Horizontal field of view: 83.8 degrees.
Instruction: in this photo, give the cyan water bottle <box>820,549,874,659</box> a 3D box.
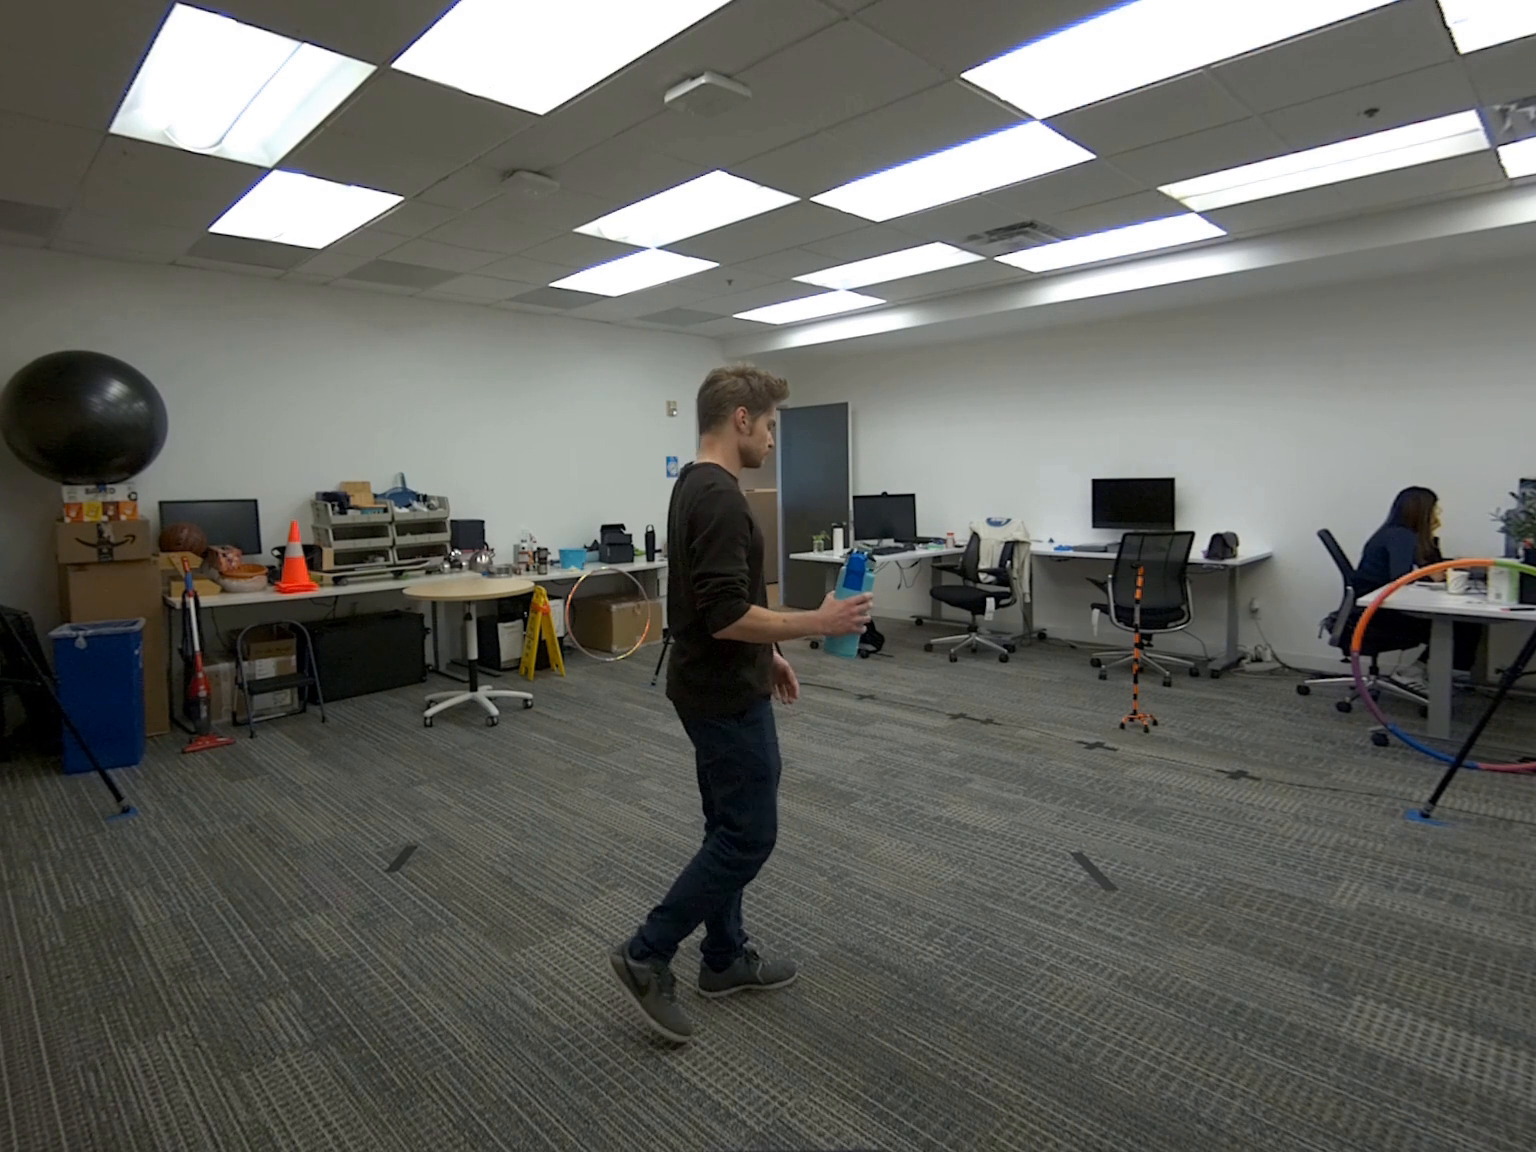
[{"bbox_3d":[0.211,0.062,2.175,0.092,0.282,0.093,13,5,-3],"label":"cyan water bottle"}]
